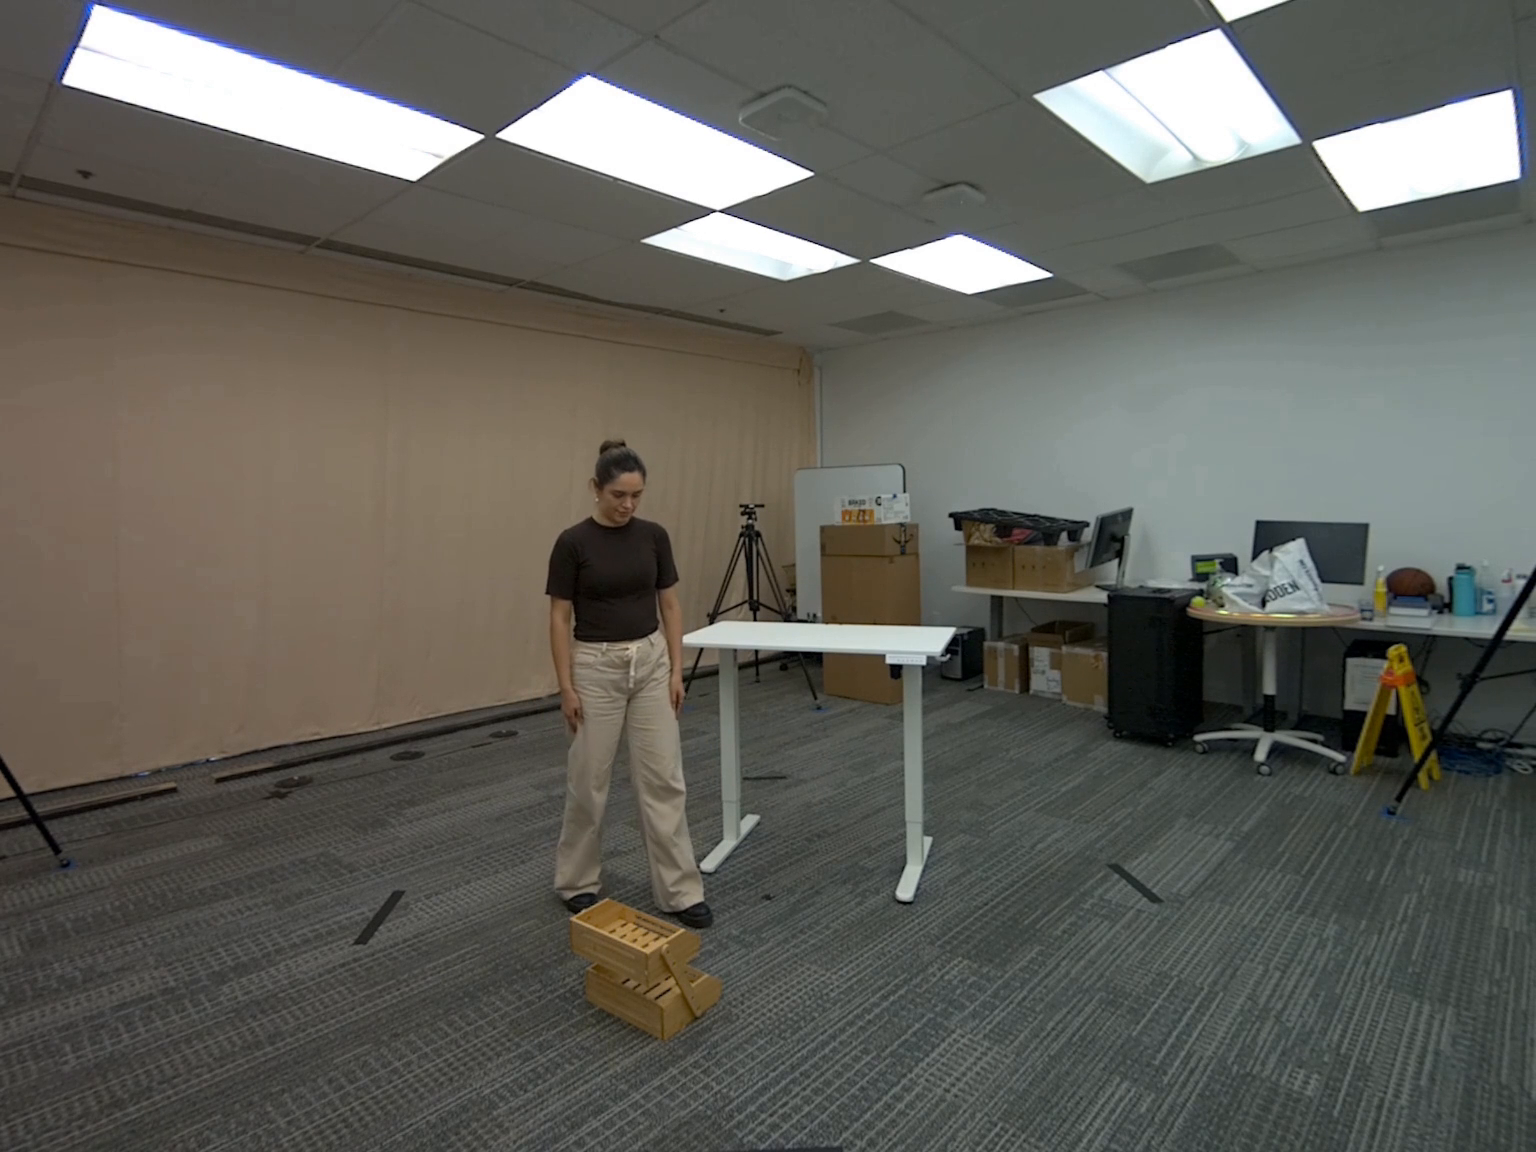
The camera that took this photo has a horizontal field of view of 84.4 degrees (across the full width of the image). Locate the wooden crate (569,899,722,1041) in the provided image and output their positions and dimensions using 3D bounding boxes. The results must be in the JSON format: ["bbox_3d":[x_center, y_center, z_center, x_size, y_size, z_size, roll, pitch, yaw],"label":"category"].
[{"bbox_3d":[-0.342,1.066,2.351,0.335,0.272,0.293,2,6,37],"label":"wooden crate"}]
